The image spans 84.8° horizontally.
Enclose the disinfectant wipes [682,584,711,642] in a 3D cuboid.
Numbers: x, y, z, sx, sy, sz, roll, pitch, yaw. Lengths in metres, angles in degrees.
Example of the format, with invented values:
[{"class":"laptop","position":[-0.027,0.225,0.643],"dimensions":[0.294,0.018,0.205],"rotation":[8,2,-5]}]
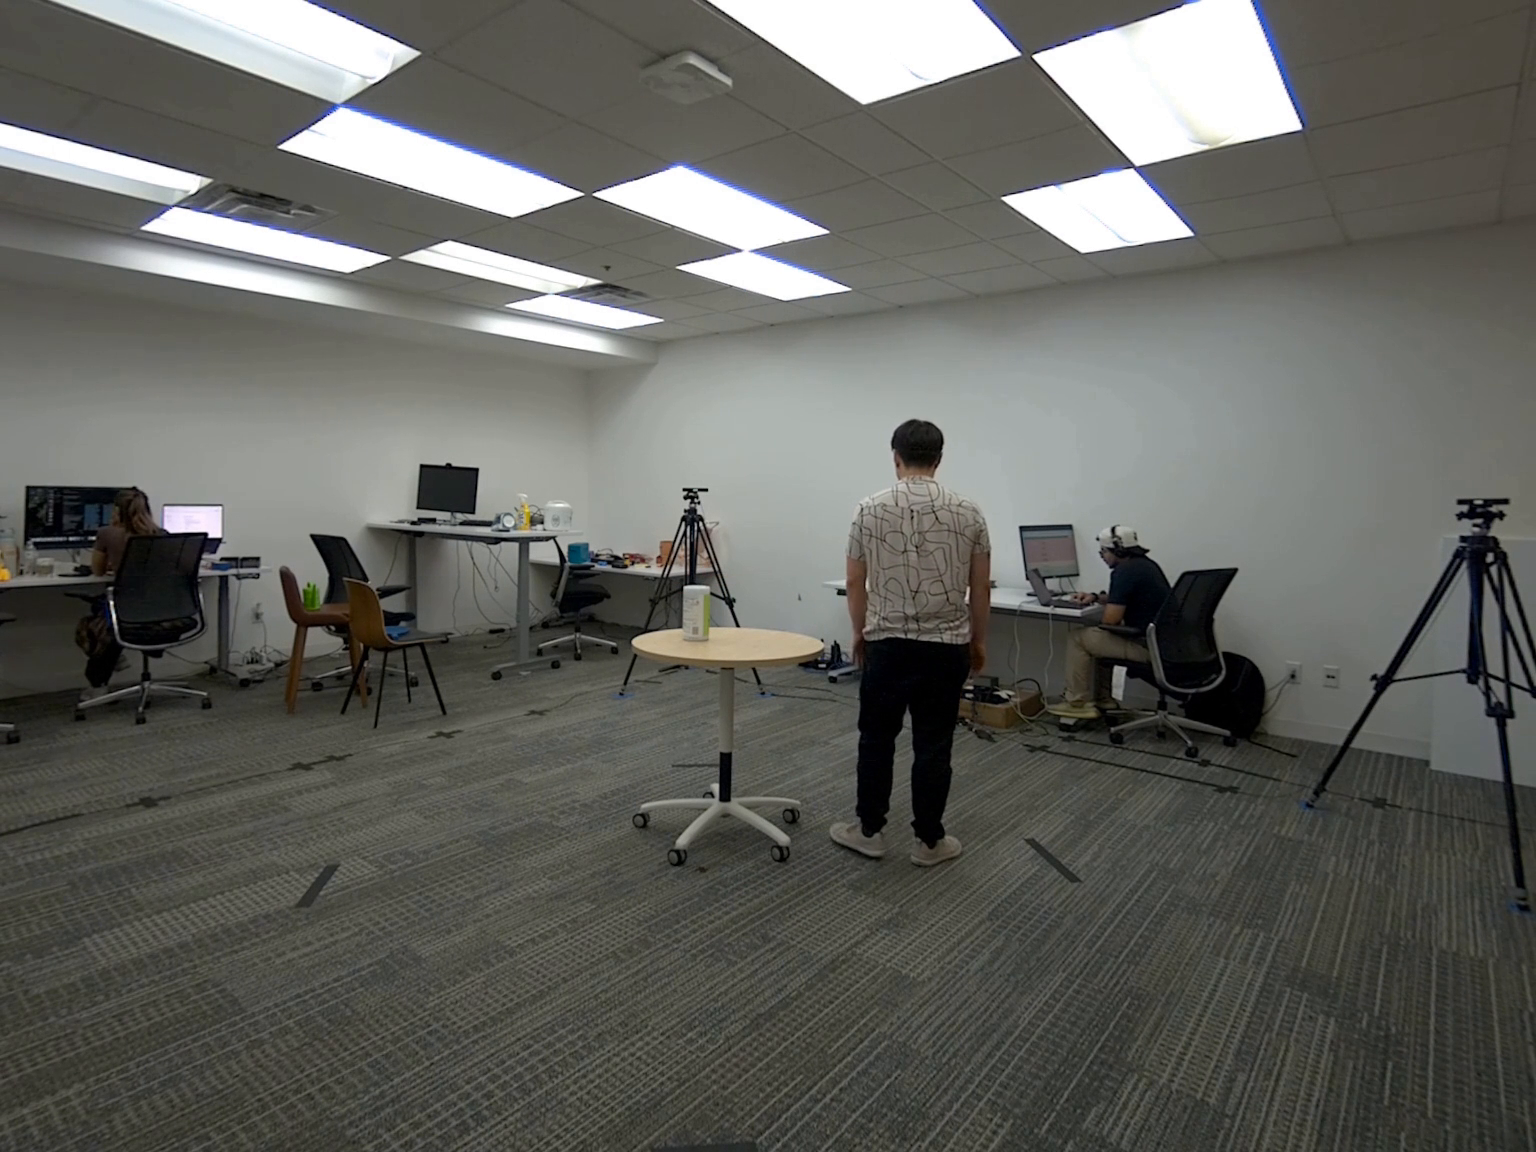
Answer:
[{"class":"disinfectant wipes","position":[-0.302,0.149,3.451],"dimensions":[0.118,0.217,0.118],"rotation":[1,3,-2]}]
